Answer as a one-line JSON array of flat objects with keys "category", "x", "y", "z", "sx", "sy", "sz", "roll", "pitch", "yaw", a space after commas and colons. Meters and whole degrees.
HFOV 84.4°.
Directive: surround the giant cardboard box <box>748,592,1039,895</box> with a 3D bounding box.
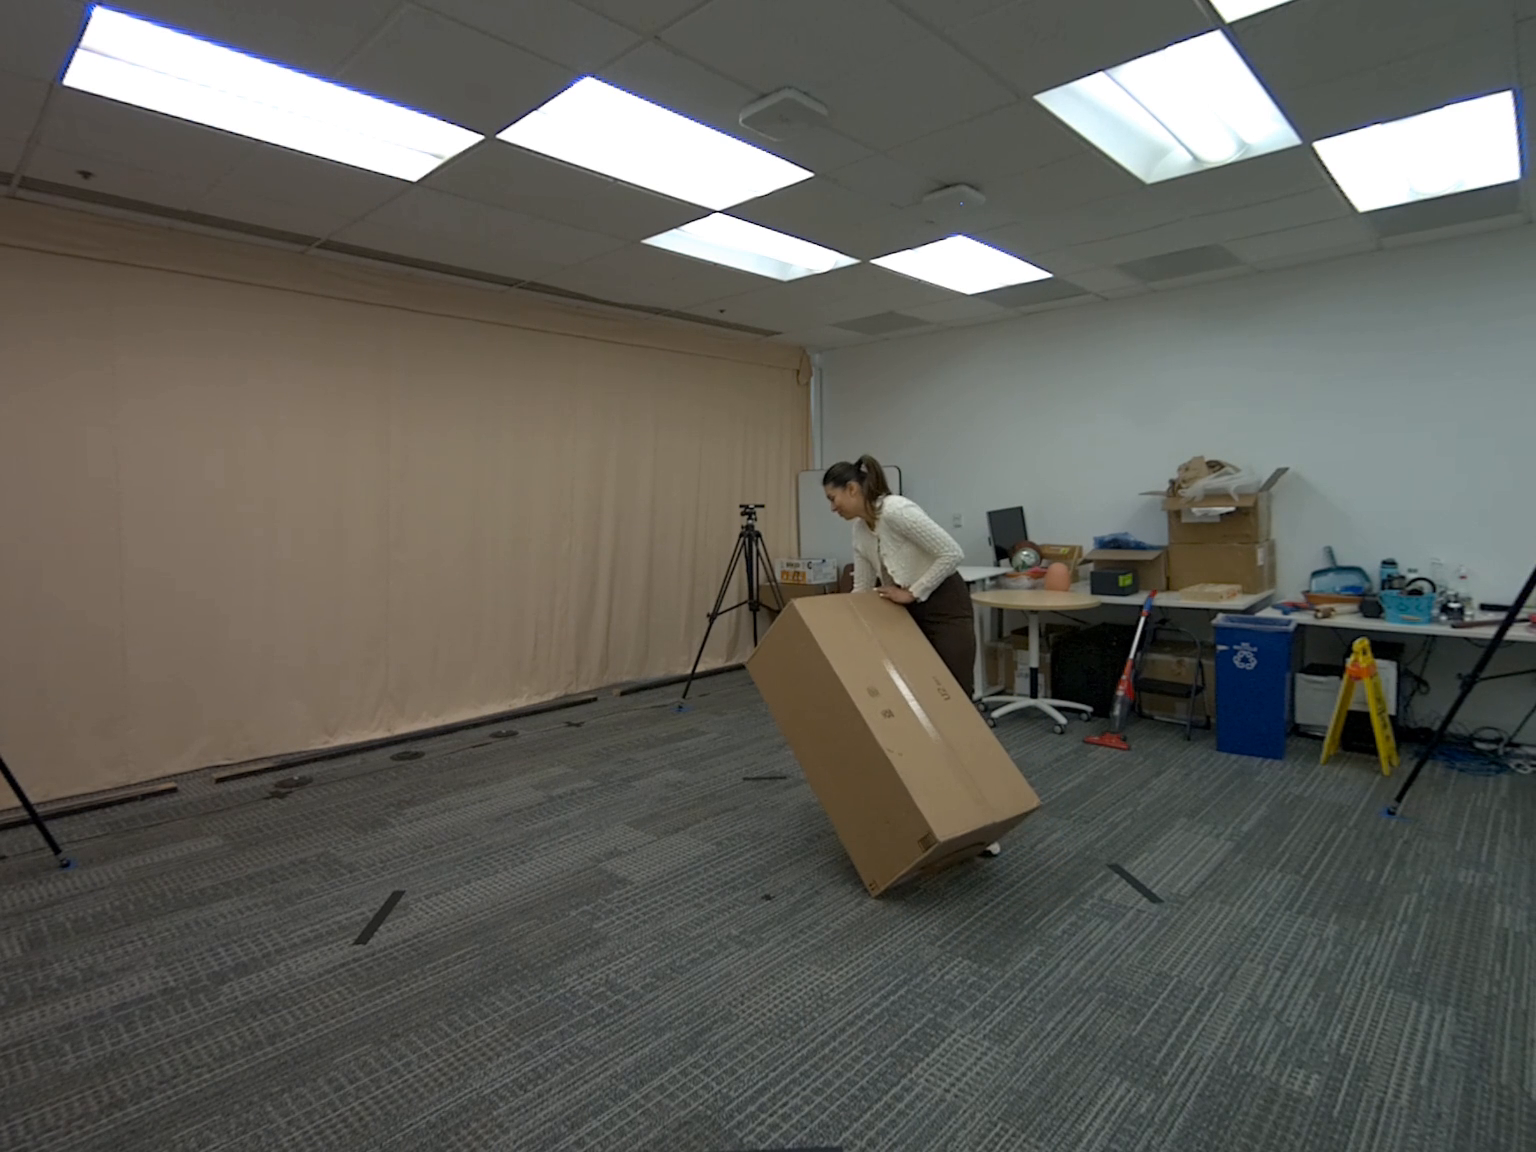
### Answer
[{"category": "giant cardboard box", "x": 0.447, "y": 0.594, "z": 3.262, "sx": 0.560, "sy": 1.056, "sz": 0.426, "roll": -4, "pitch": -40, "yaw": -37}]
